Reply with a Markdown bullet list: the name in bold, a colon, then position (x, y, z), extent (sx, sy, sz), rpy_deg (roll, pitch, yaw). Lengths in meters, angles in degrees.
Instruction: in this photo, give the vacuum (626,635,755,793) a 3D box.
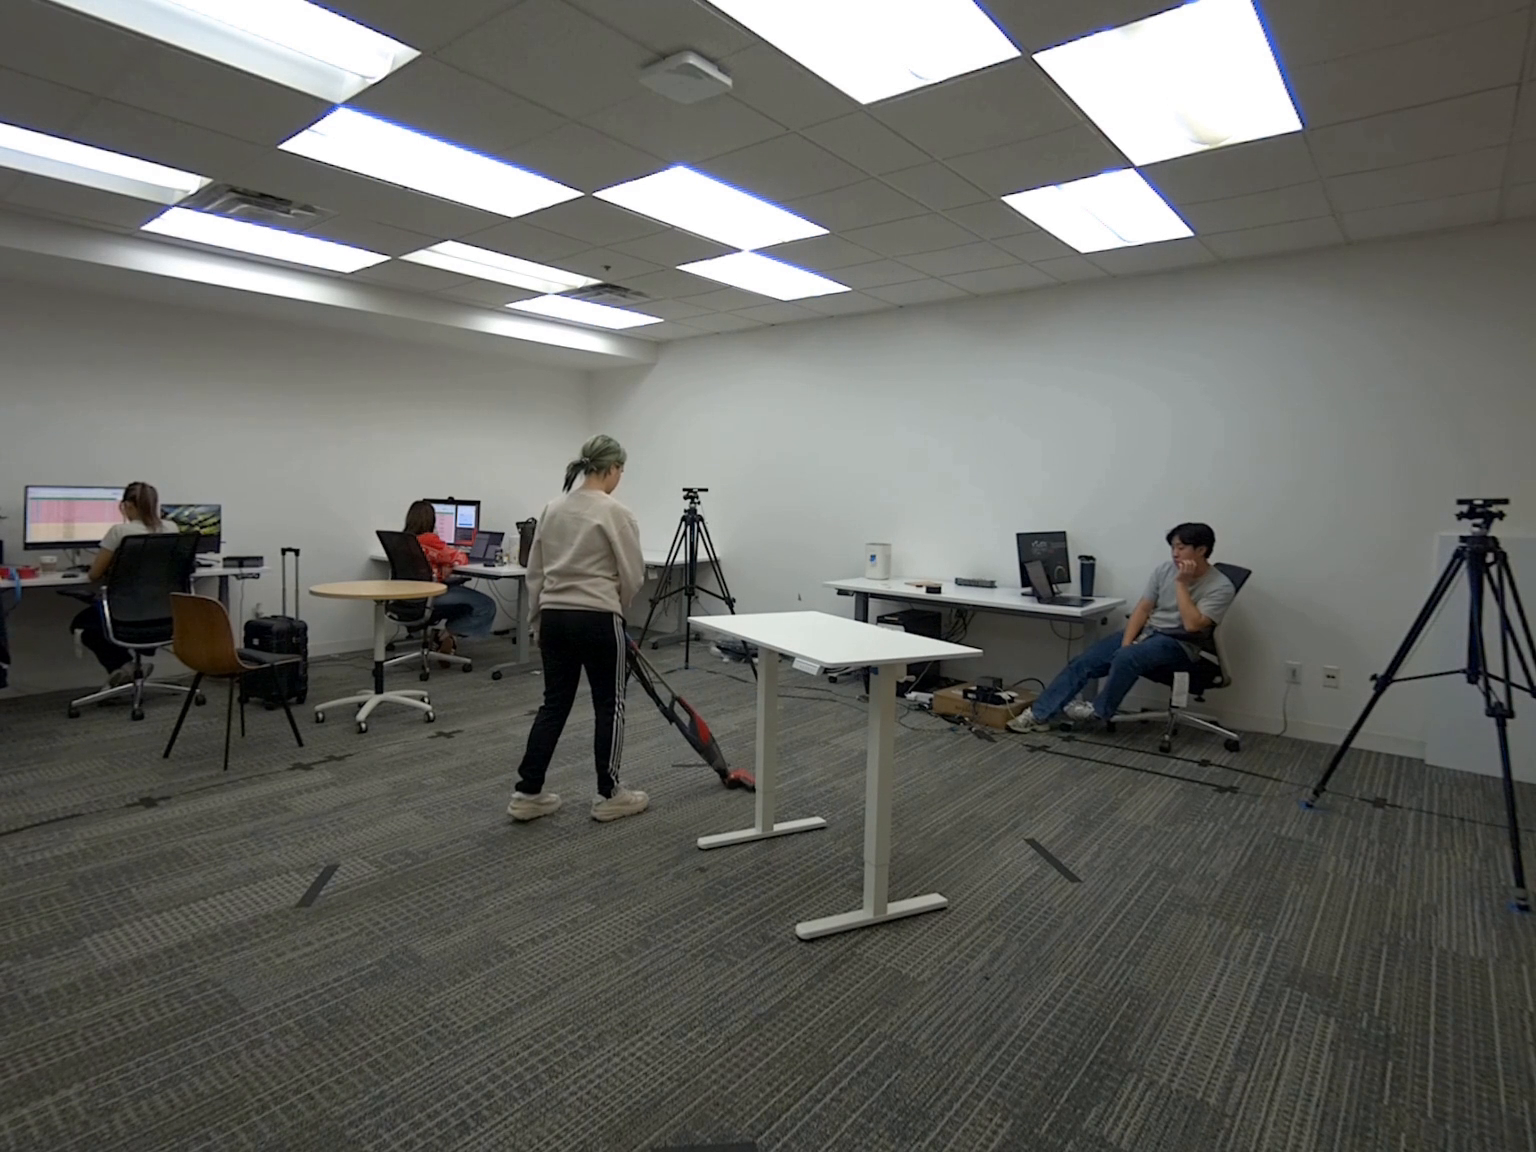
- **vacuum**: position (-0.464, 0.593, 3.906), extent (0.144, 1.026, 0.258), rpy_deg (-44, 16, -11)
